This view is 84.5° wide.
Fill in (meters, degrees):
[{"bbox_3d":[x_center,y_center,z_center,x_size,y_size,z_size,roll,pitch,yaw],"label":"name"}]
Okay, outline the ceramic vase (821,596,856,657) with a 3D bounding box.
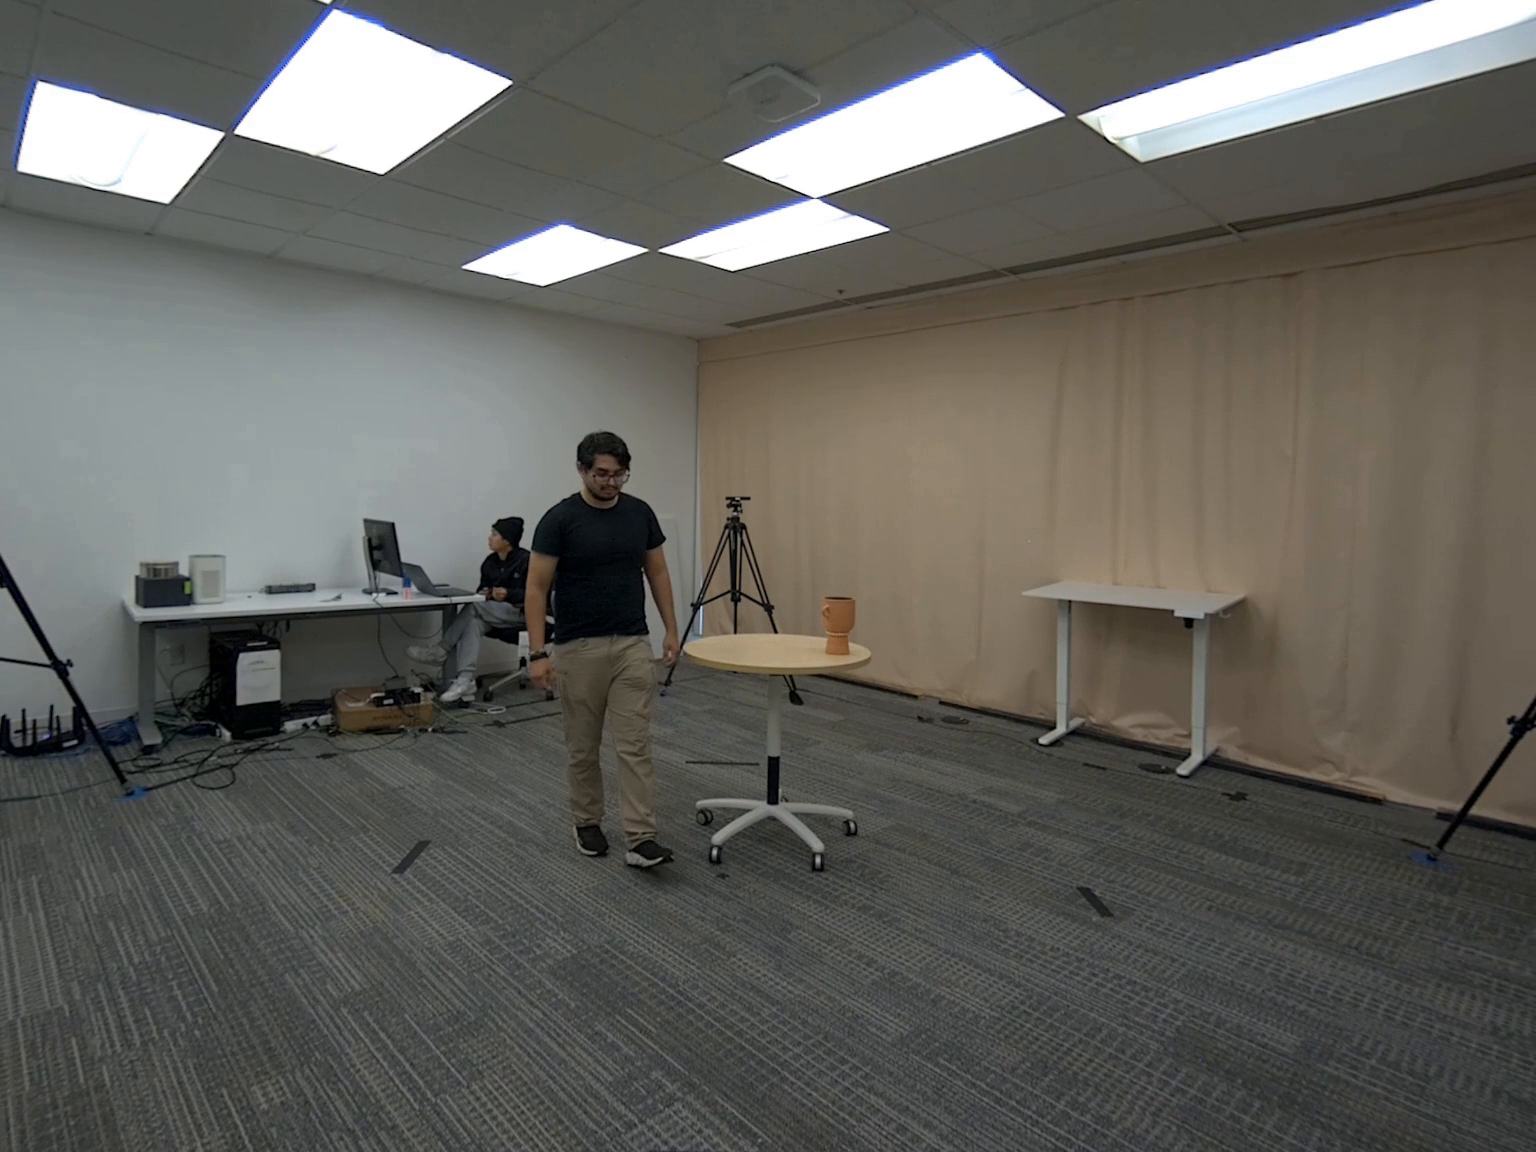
[{"bbox_3d":[0.274,0.200,3.379,0.158,0.219,0.135,0,3,-7],"label":"ceramic vase"}]
